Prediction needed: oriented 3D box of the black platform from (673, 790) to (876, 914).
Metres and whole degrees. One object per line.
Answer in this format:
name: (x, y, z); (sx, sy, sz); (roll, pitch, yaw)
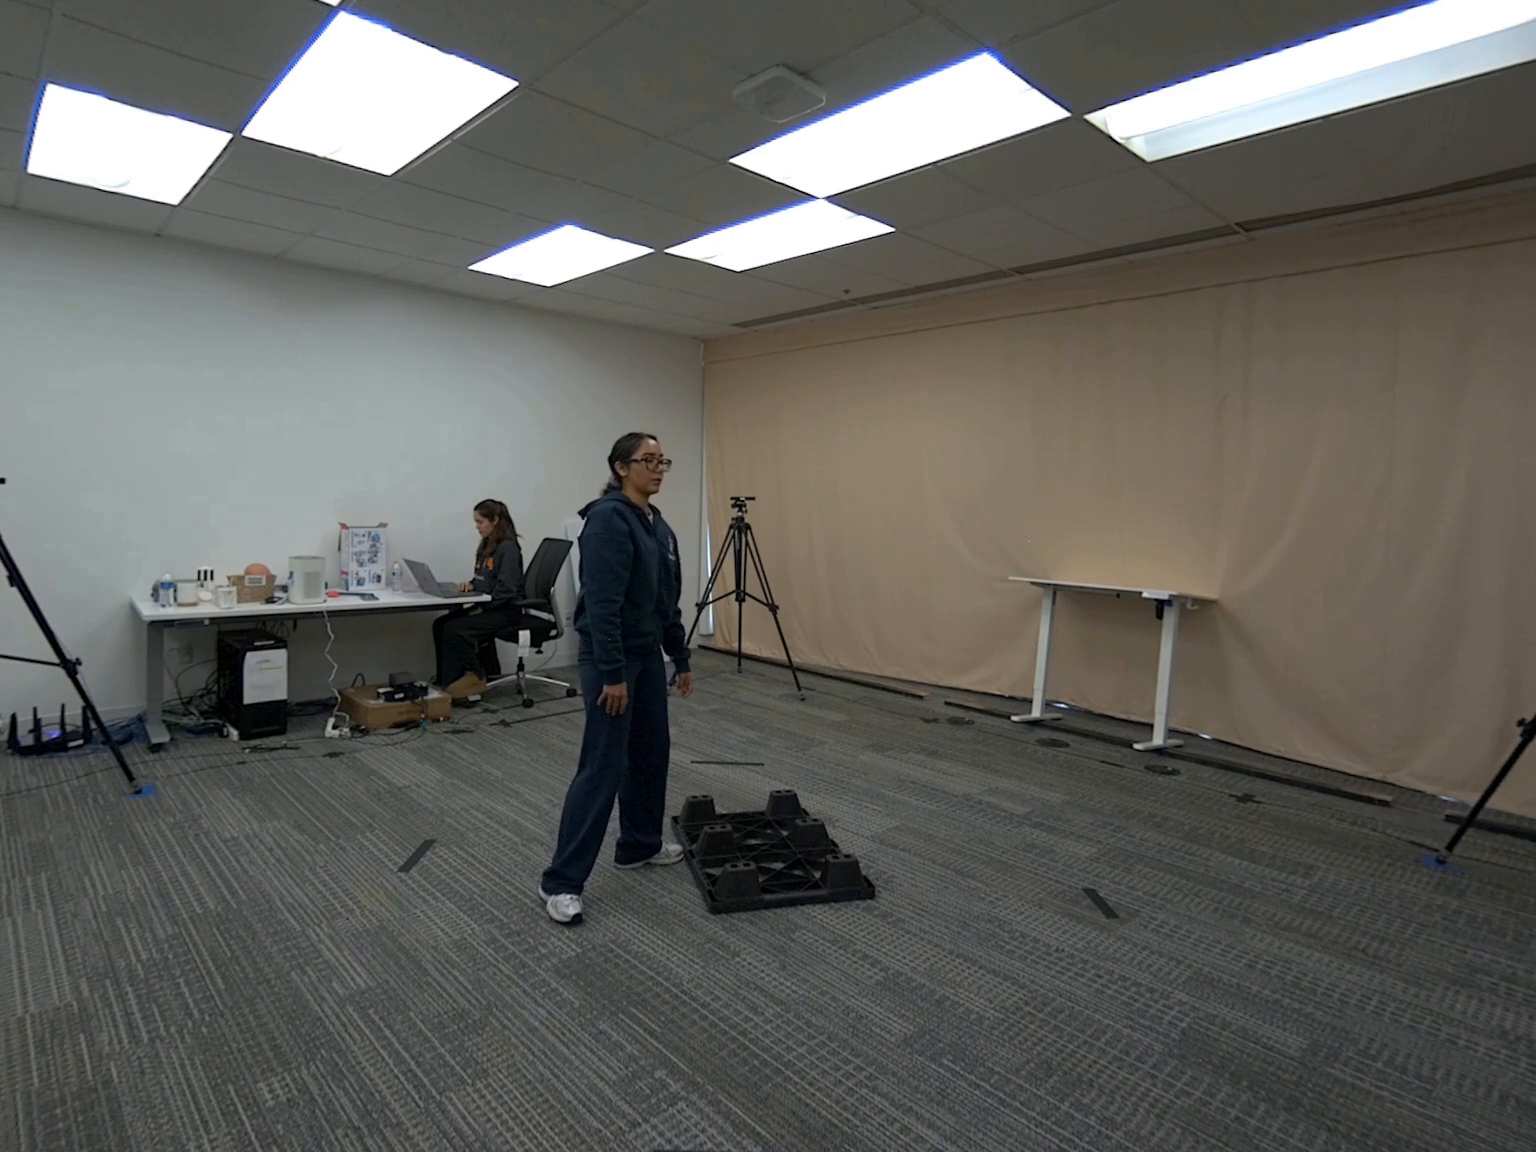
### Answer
black platform: (-0.024, 1.026, 3.263); (0.597, 0.143, 0.818); (0, 5, -17)
